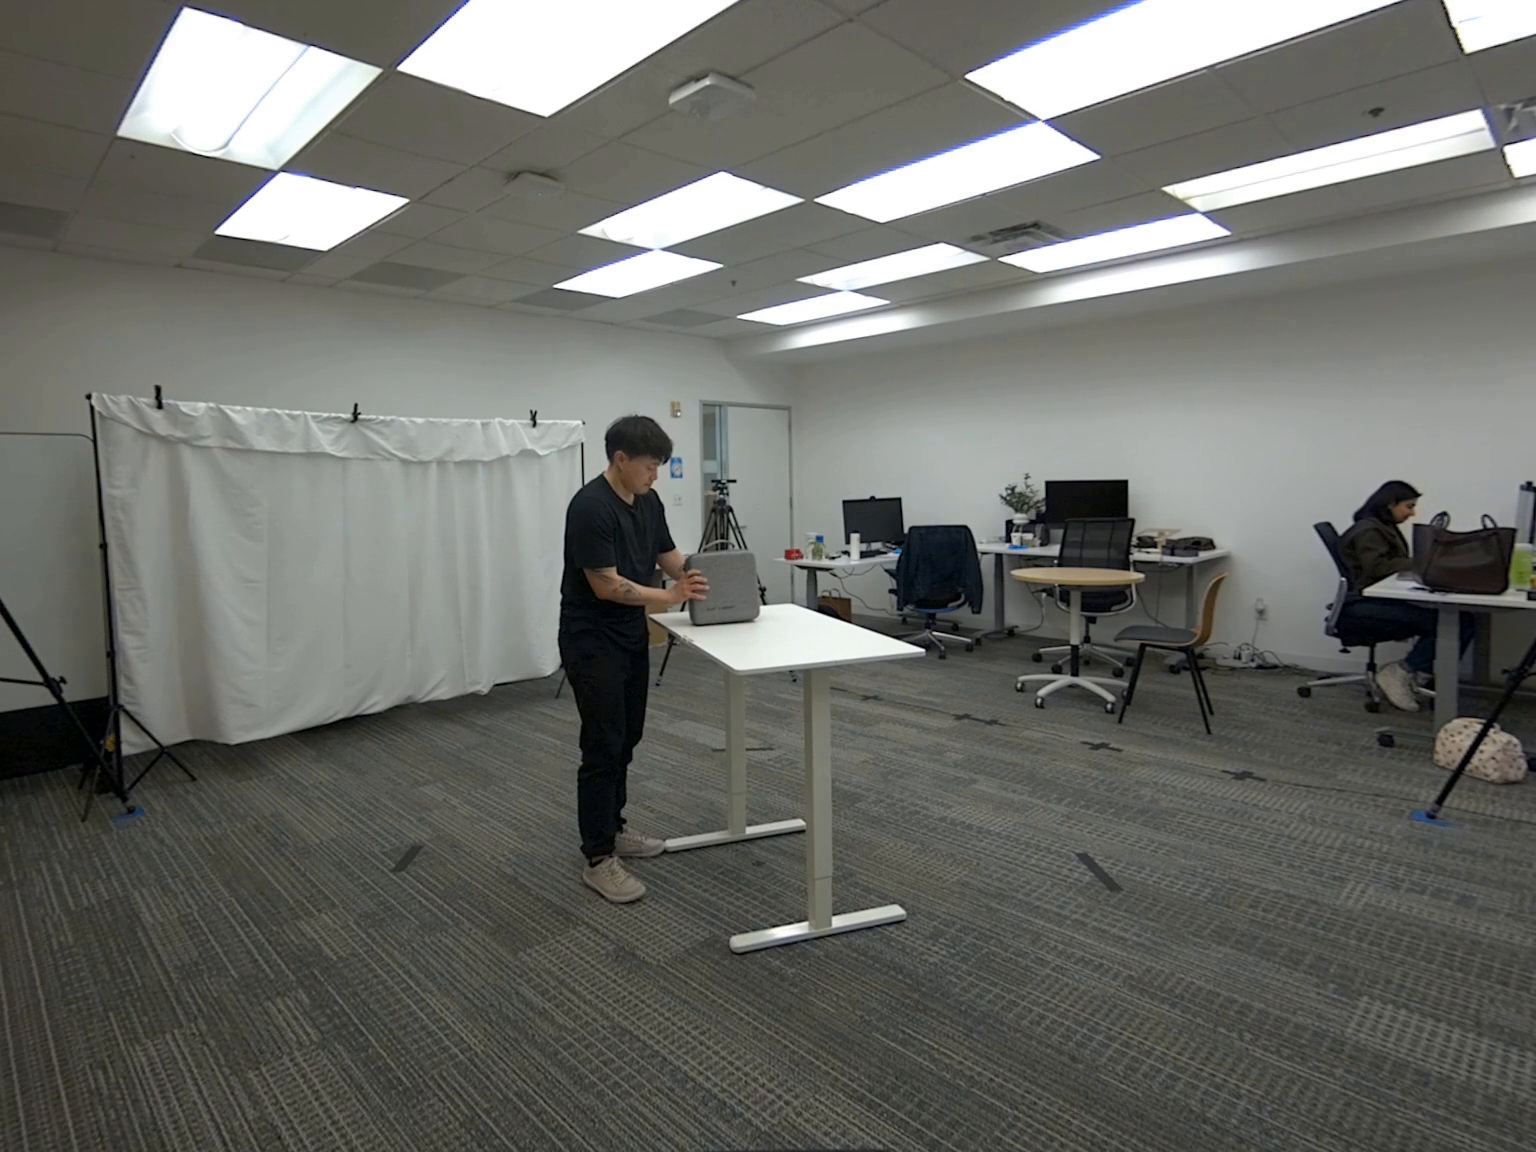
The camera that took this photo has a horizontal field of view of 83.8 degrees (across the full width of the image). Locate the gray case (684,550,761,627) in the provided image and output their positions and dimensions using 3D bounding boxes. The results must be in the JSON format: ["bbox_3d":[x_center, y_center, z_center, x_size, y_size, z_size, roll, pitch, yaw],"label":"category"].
[{"bbox_3d":[-0.168,0.035,3.079,0.253,0.261,0.106,-5,0,-15],"label":"gray case"}]
